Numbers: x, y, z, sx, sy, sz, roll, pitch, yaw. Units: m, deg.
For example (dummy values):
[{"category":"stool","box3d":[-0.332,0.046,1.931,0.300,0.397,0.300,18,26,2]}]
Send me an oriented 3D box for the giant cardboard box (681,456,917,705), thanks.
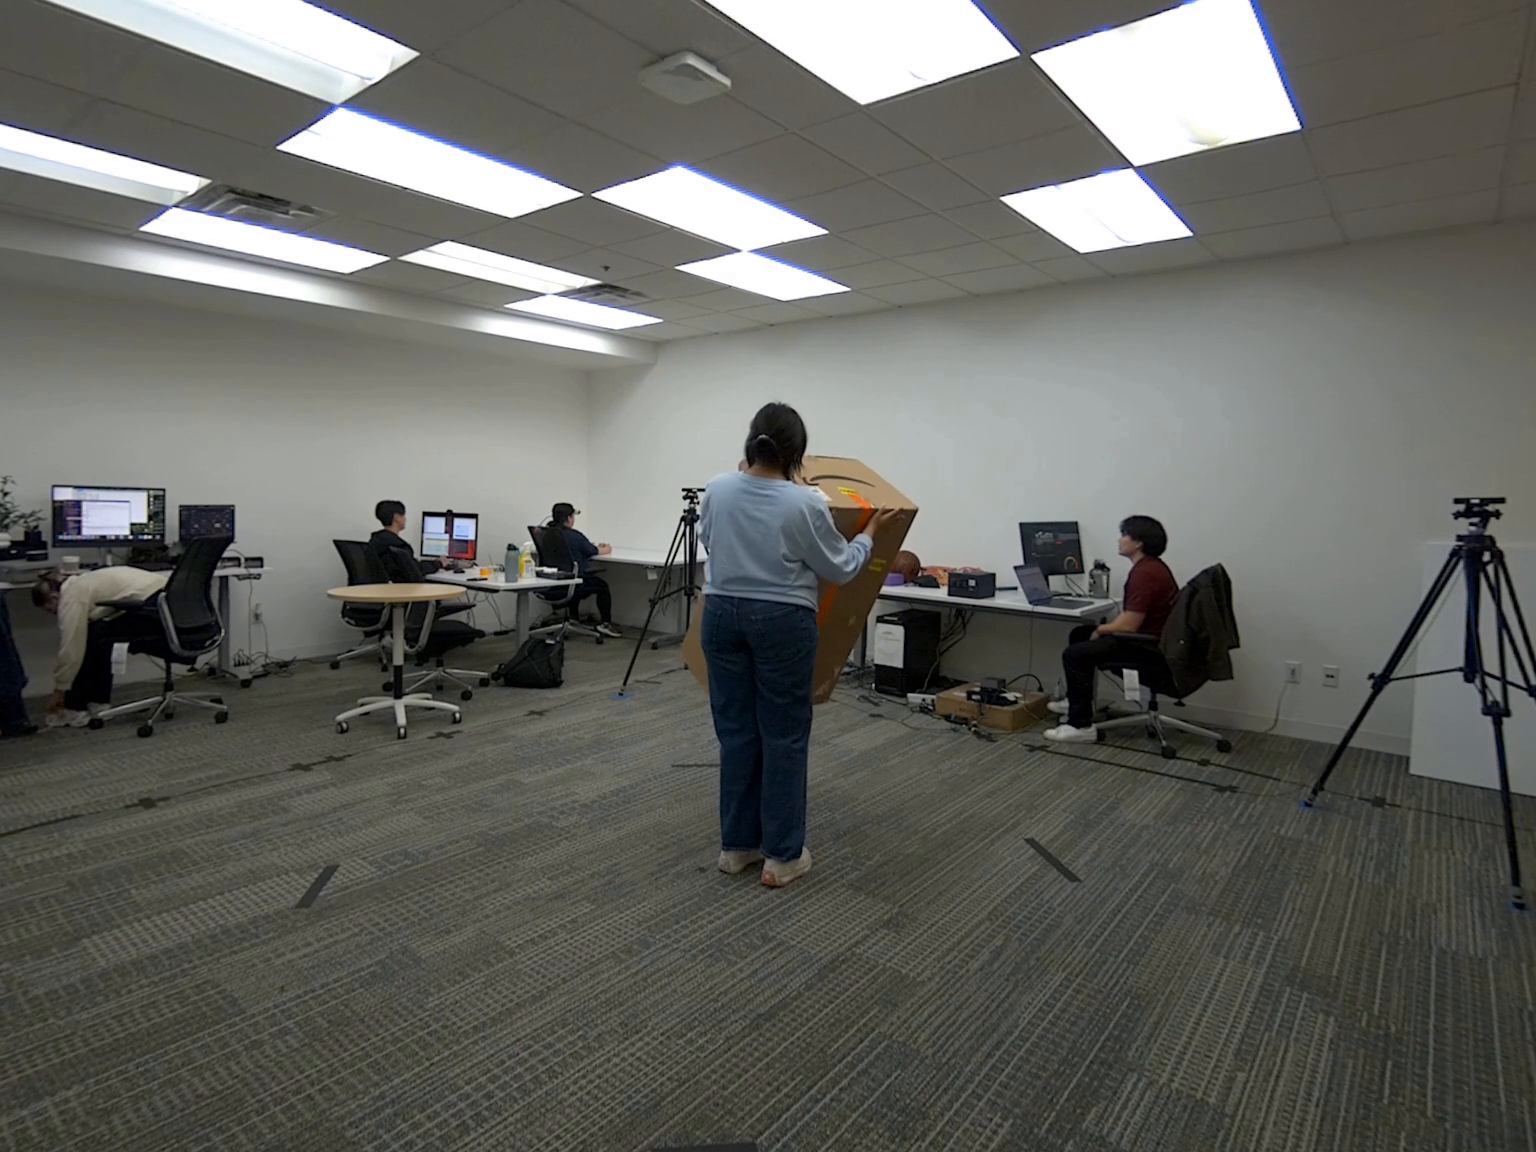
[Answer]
[{"category":"giant cardboard box","box3d":[0.094,0.046,3.593,0.566,1.014,0.466,1,33,-36]}]
